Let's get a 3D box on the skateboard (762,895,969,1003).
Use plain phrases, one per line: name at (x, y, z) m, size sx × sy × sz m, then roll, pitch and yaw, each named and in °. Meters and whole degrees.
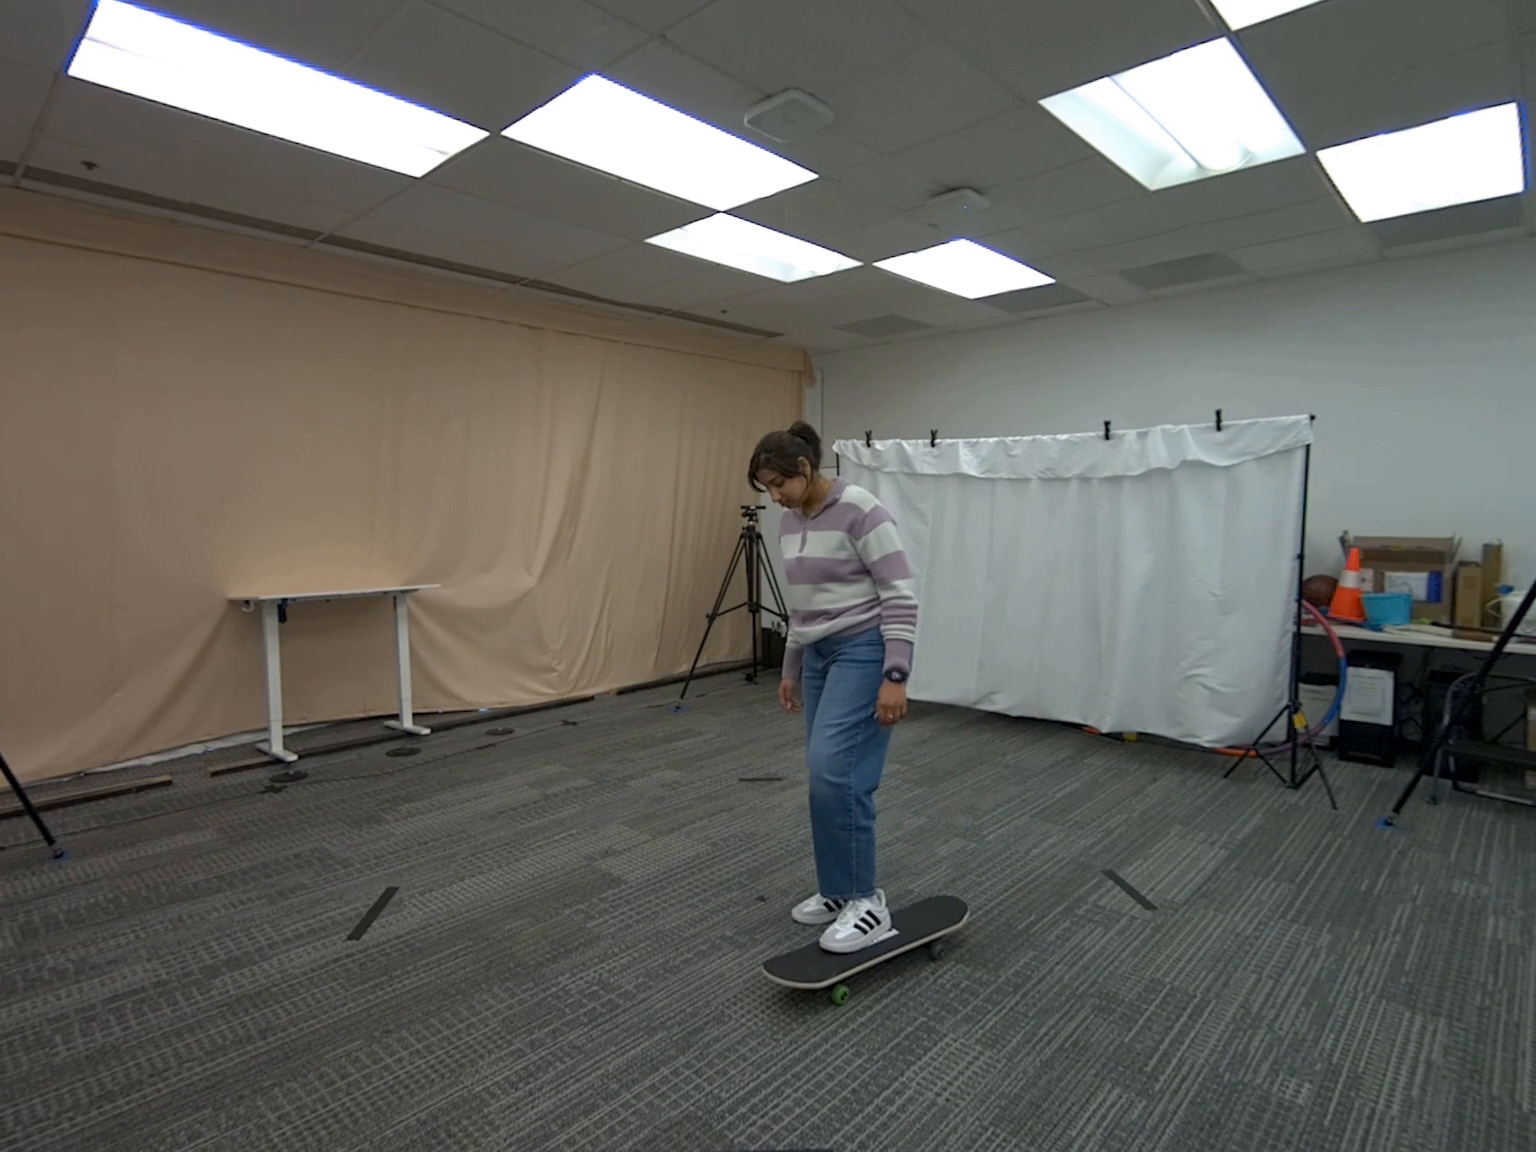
skateboard at (0.318, 1.127, 2.525) m, size 0.763 × 0.110 × 0.199 m, roll -3°, pitch 2°, yaw -35°
